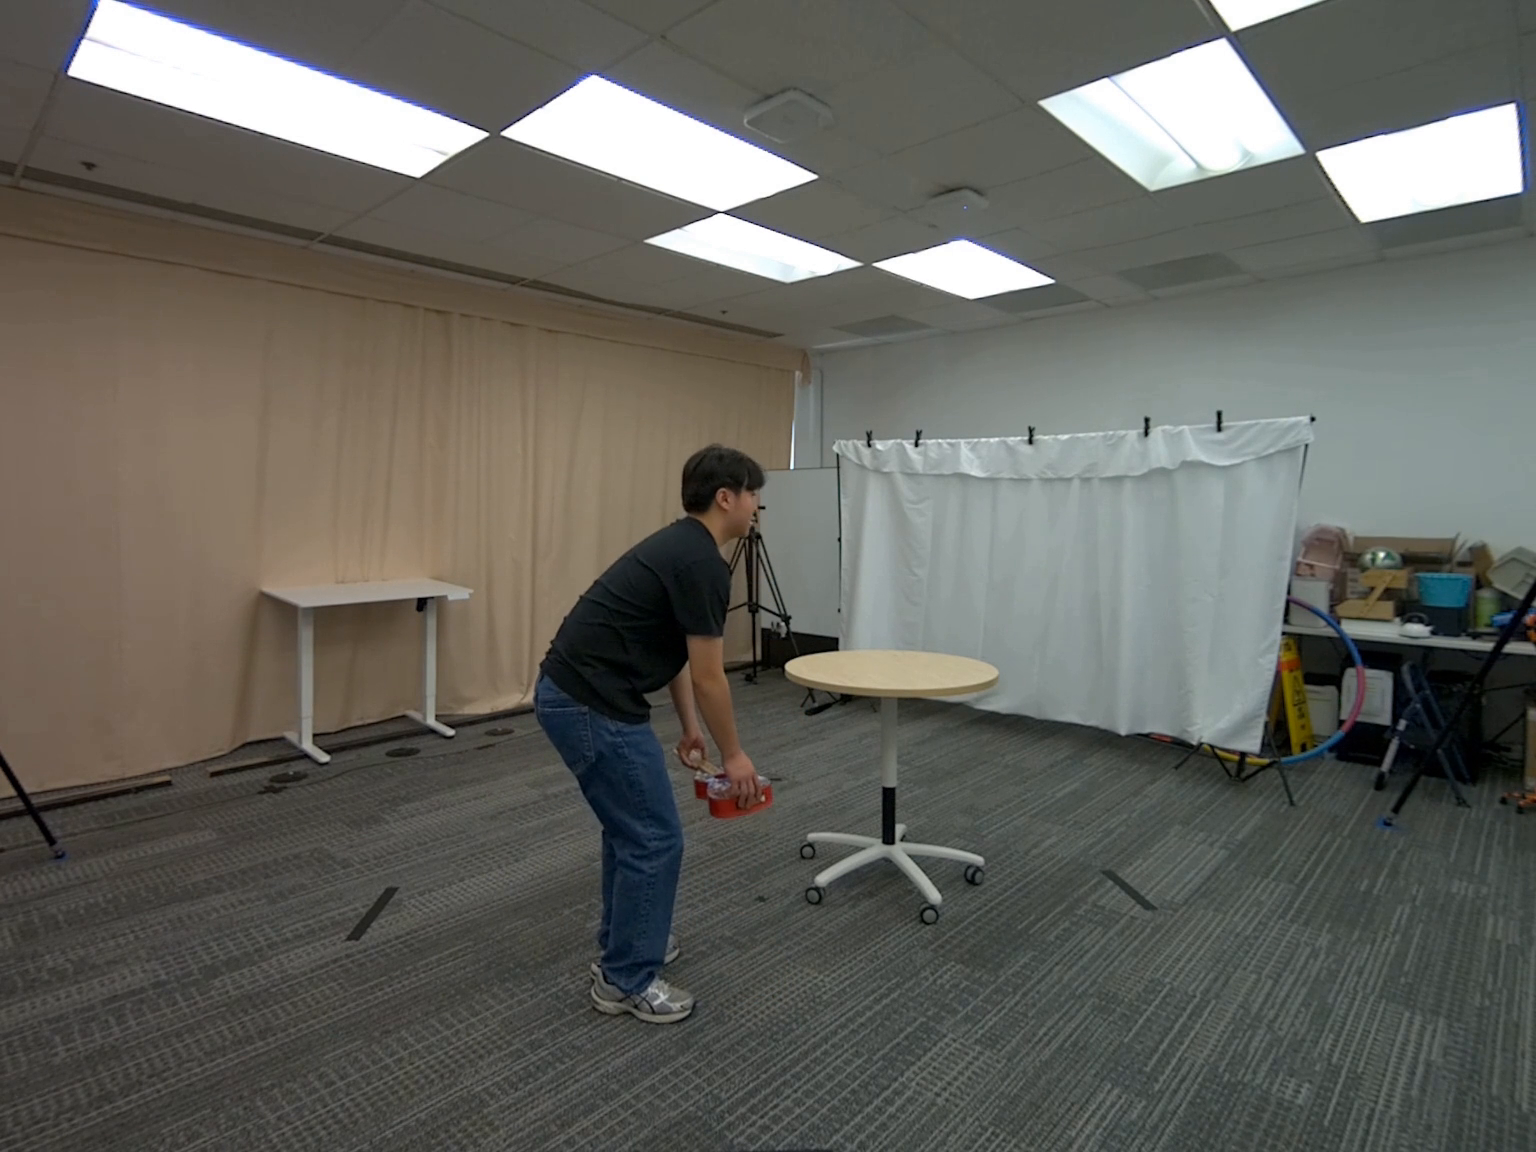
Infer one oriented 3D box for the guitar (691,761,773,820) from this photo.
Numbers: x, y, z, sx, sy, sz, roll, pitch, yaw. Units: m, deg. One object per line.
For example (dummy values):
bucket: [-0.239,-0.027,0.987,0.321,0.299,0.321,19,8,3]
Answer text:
guitar: [-0.138,0.626,2.602,0.190,0.070,0.507,-10,8,-15]
